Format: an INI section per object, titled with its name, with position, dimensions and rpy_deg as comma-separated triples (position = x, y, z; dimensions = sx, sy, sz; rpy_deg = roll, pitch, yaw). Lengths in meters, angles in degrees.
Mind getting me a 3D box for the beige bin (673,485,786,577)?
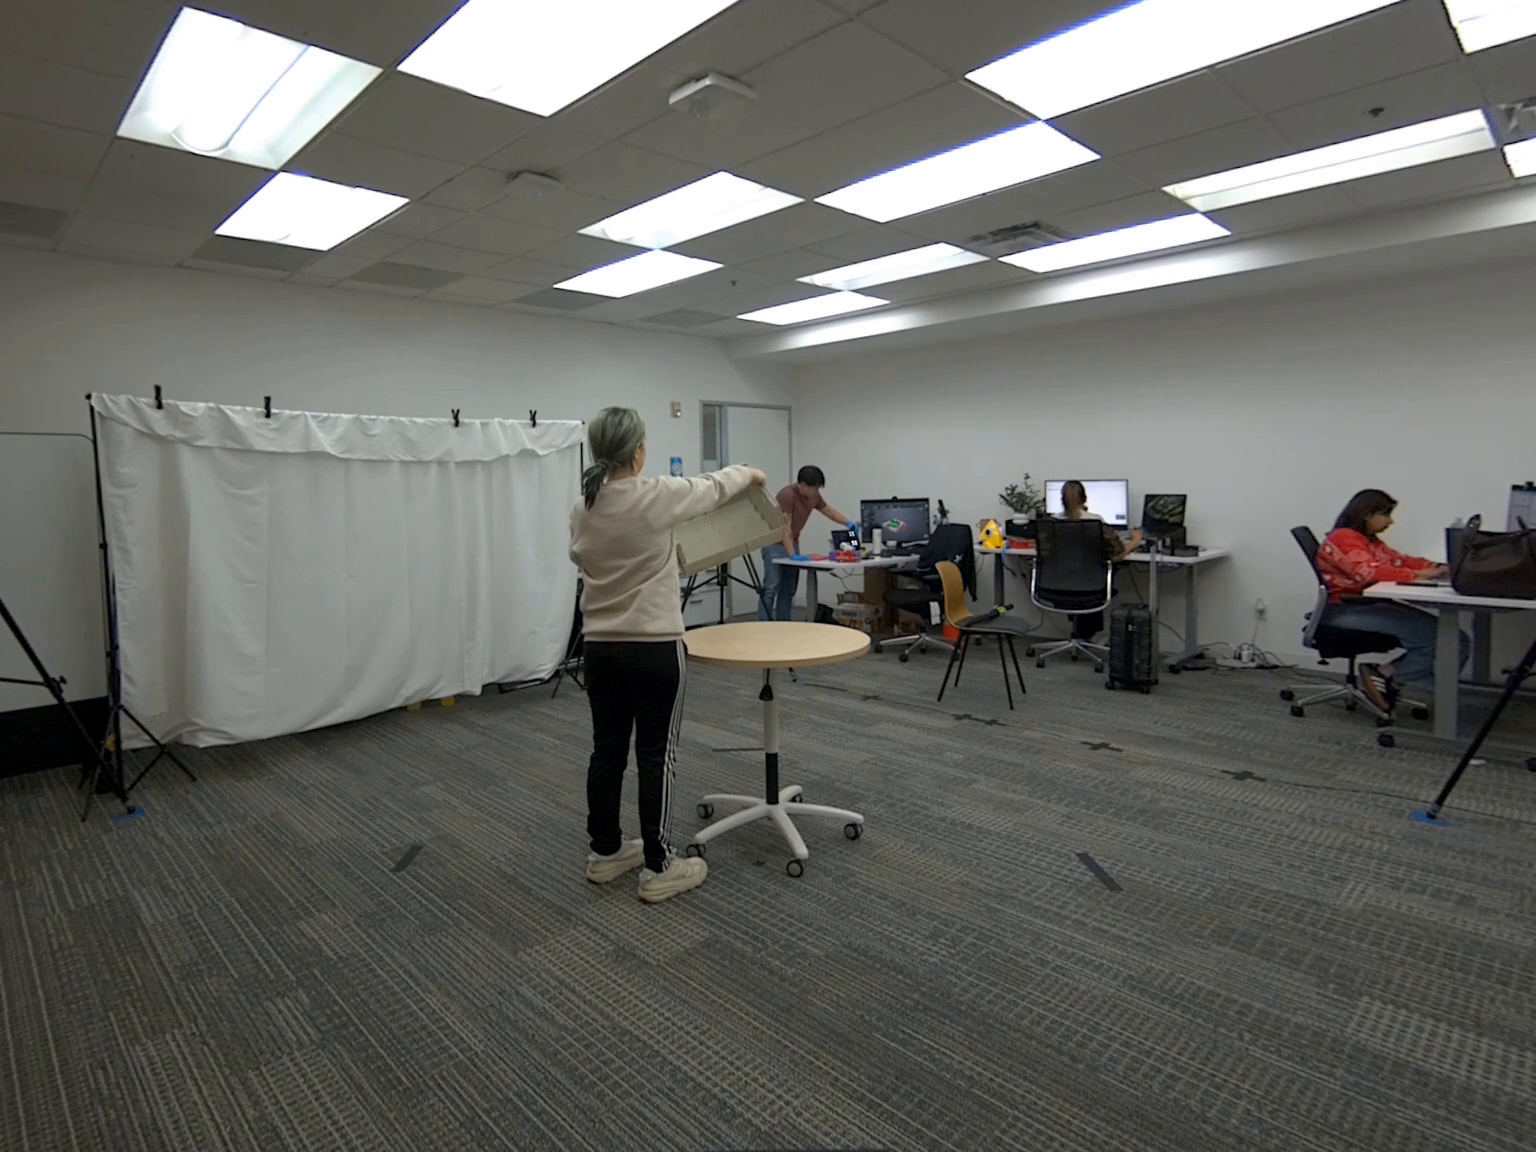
[beige bin]
position = -0.194, -0.214, 3.325
dimensions = 0.419, 0.183, 0.392
rpy_deg = -22, 40, -12
